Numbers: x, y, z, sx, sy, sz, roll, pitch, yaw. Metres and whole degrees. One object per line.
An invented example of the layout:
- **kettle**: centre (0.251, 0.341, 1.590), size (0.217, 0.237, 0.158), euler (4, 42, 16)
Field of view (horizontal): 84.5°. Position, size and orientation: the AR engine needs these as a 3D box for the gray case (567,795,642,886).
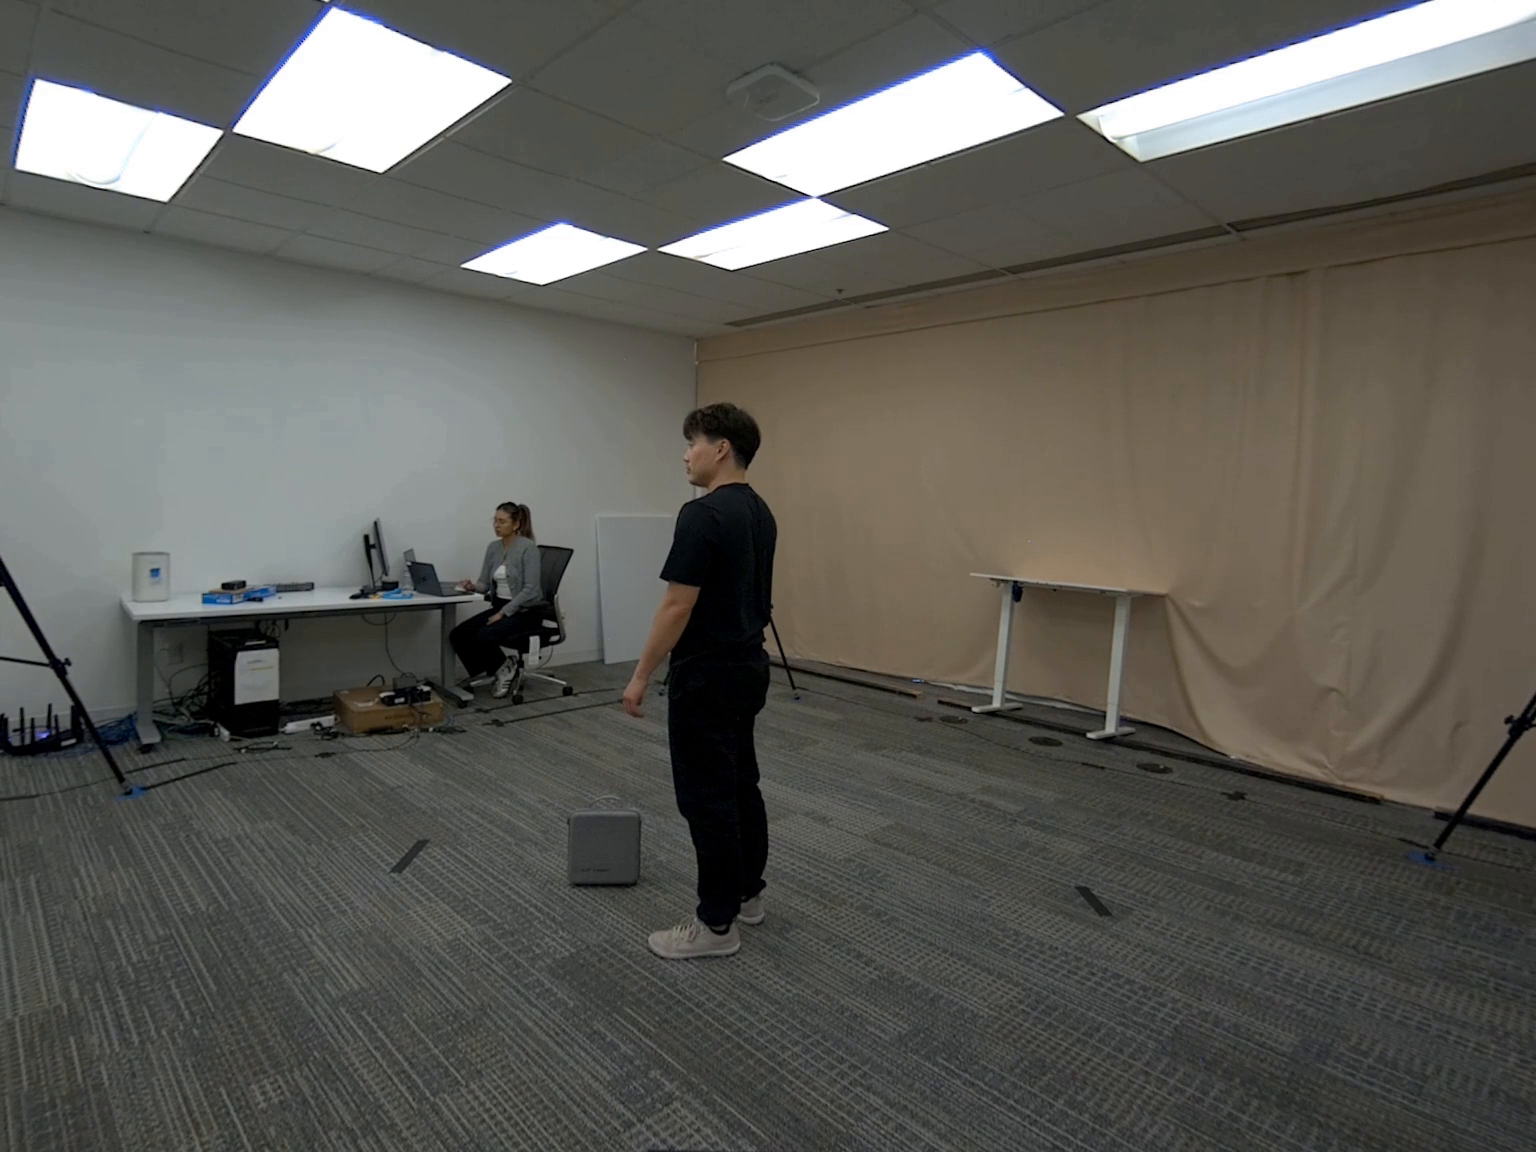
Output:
- **gray case**: centre (-0.598, 0.966, 3.037), size (0.256, 0.261, 0.104), euler (2, -4, -3)
